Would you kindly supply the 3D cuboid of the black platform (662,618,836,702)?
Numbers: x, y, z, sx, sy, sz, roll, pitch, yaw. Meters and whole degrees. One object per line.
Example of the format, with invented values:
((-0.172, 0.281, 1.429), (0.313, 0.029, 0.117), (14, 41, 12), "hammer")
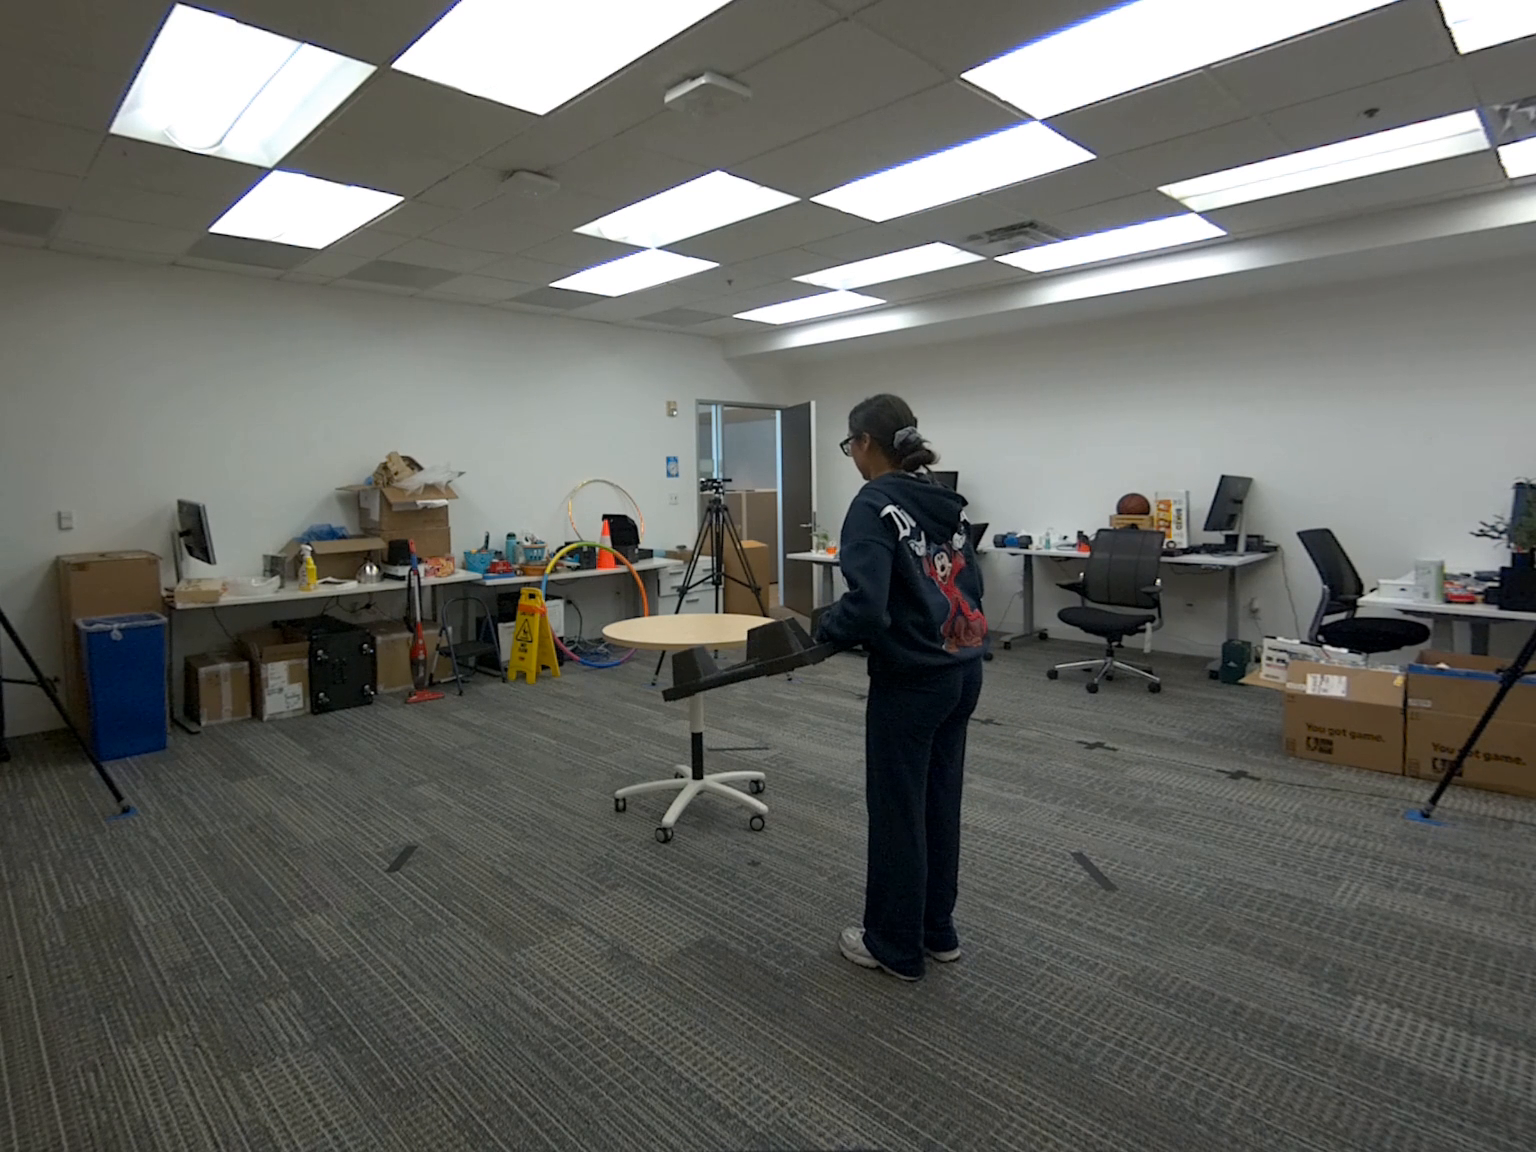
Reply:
((0.132, 0.184, 2.653), (0.615, 0.144, 0.787), (-21, -5, 43), "black platform")
